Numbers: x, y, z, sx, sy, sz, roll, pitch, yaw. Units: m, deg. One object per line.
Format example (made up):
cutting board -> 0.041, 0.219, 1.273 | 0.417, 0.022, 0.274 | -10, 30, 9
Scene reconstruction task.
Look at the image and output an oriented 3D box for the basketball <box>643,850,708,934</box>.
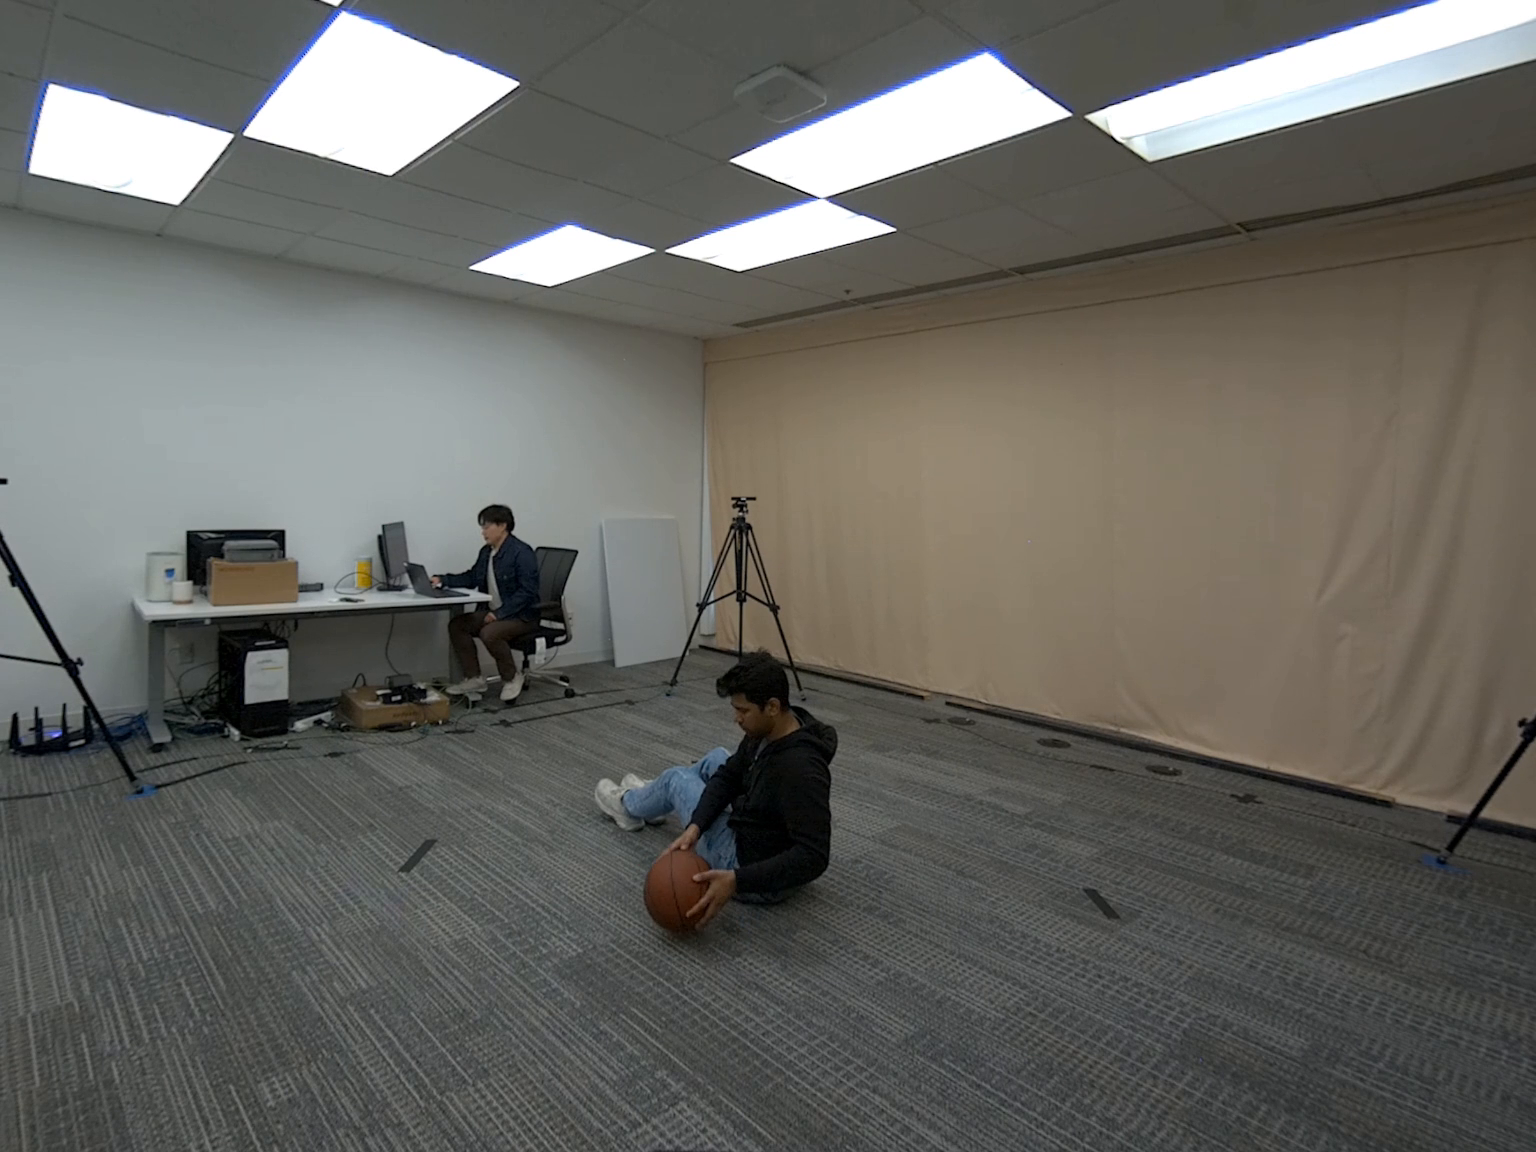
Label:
basketball -> -0.287, 0.981, 2.670 | 0.236, 0.235, 0.237 | 1, 4, -1
